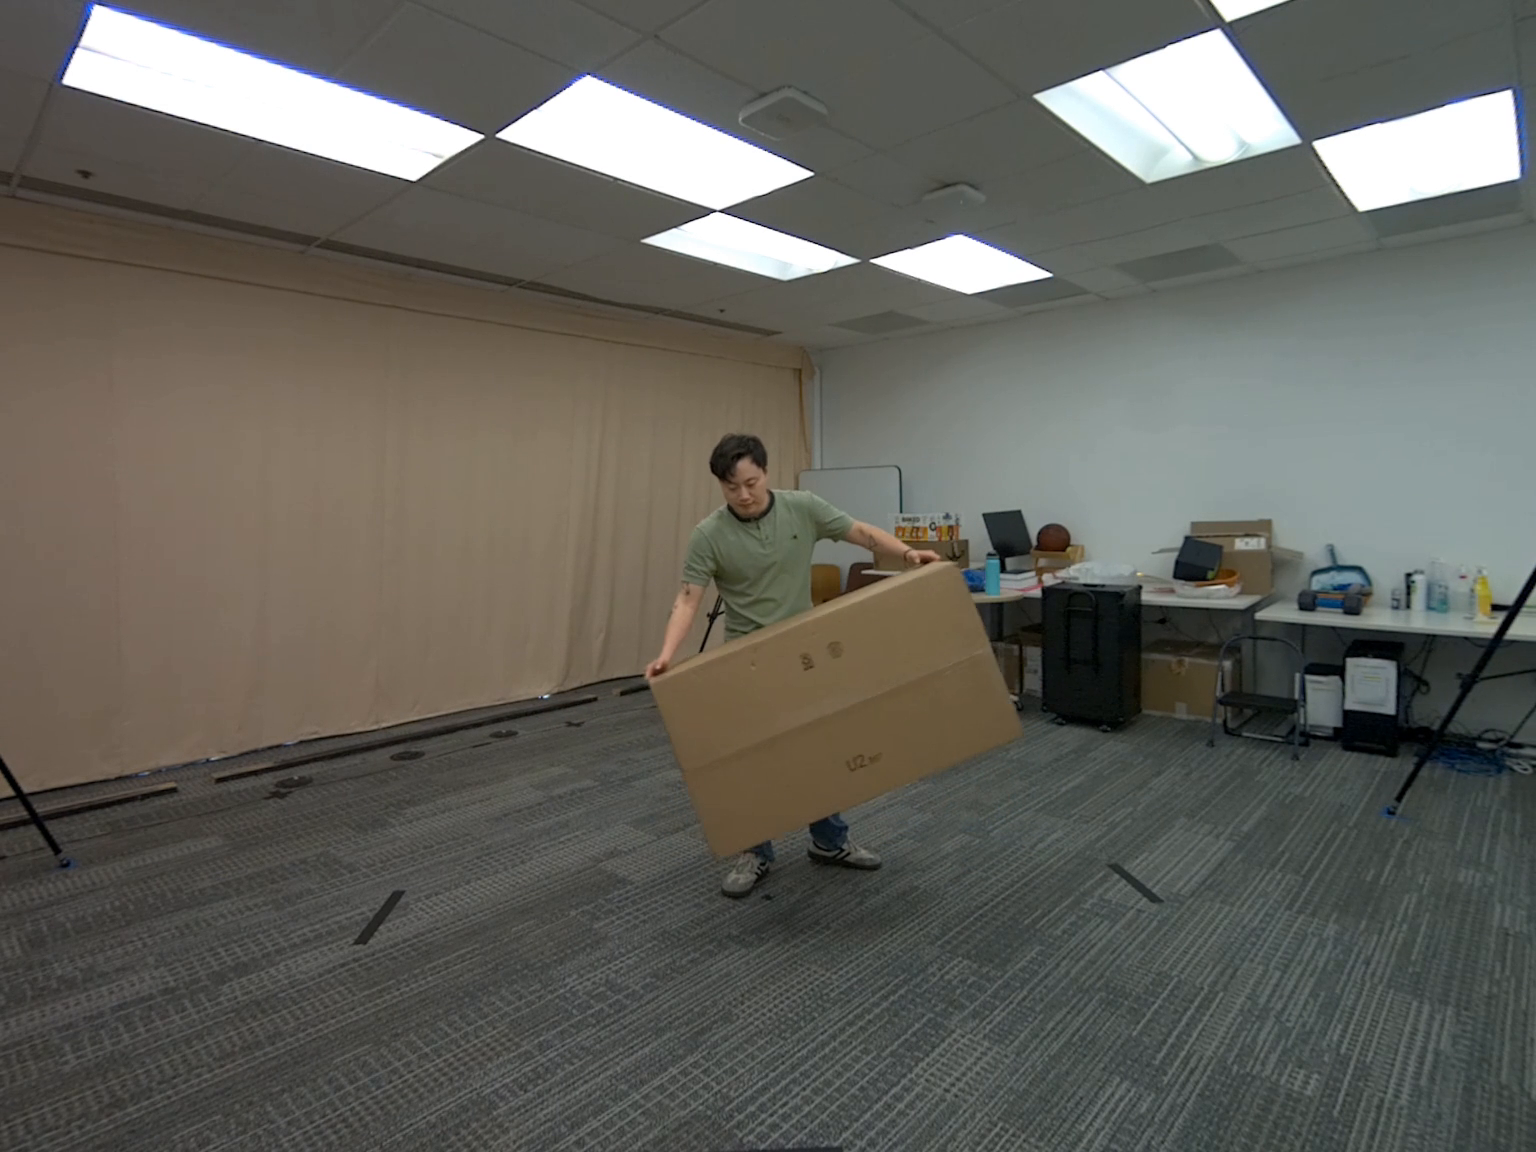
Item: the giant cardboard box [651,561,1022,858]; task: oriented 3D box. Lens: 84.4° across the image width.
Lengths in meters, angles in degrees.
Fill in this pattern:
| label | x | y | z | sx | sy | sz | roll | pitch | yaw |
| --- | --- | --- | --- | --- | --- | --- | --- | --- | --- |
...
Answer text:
| label | x | y | z | sx | sy | sz | roll | pitch | yaw |
| --- | --- | --- | --- | --- | --- | --- | --- | --- | --- |
| giant cardboard box | 0.195 | 0.410 | 2.768 | 1.023 | 0.579 | 0.426 | -21 | -1 | -3 |
